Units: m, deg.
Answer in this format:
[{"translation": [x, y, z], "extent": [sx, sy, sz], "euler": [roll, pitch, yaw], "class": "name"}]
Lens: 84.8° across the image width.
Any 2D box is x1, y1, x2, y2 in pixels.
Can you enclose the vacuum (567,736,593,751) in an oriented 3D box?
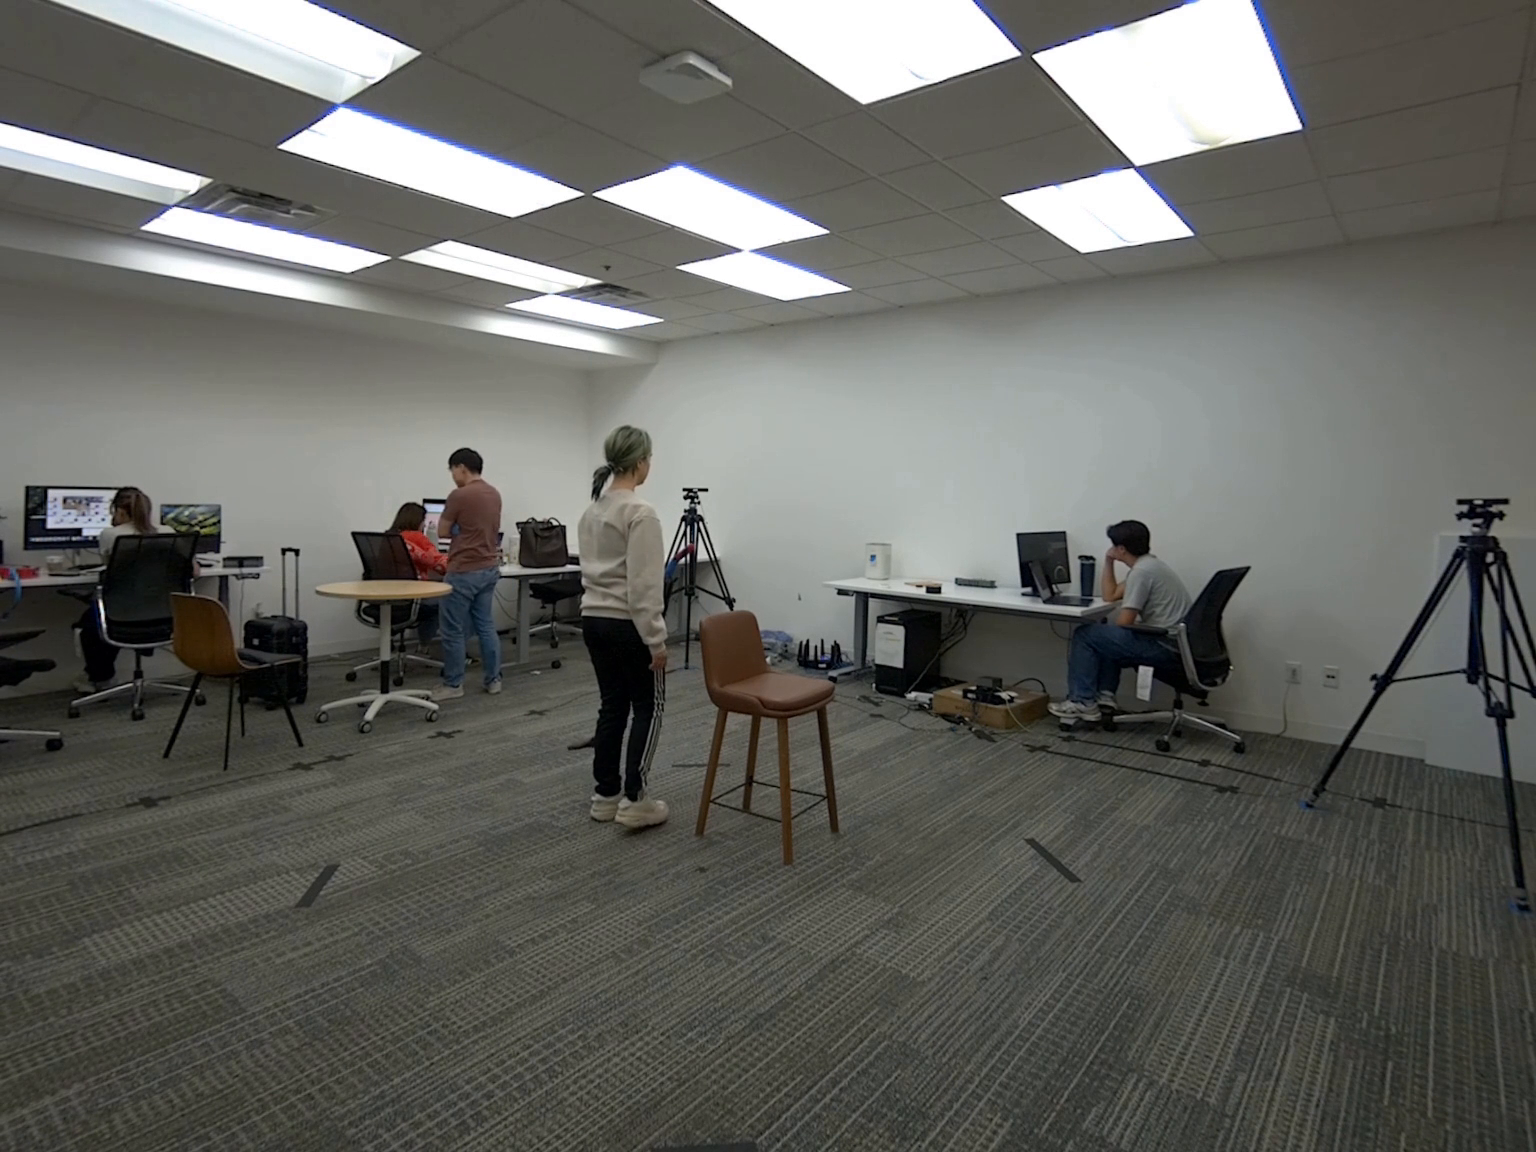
[{"translation": [-0.579, 0.326, 3.885], "extent": [0.149, 1.045, 0.245], "euler": [32, 11, 24], "class": "vacuum"}]
